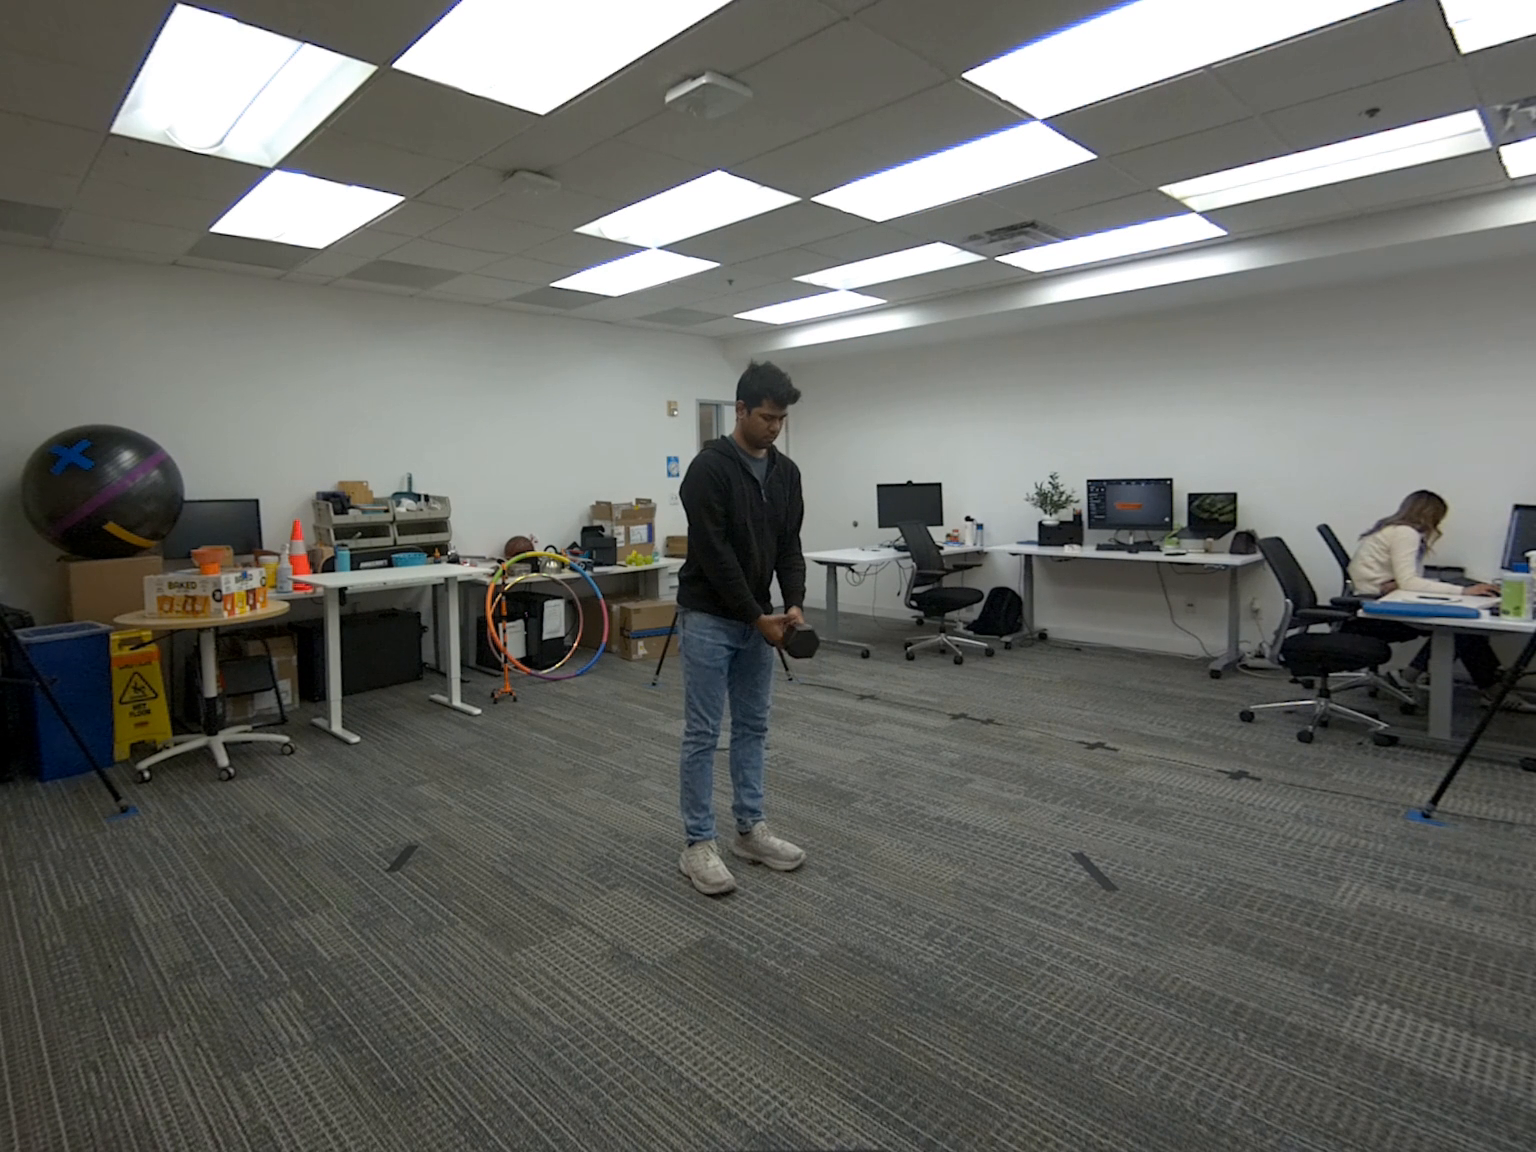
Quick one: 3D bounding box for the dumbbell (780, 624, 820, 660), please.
[{"bbox_3d":[0.061,0.212,2.937,0.106,0.123,0.300,26,-1,-19],"label":"dumbbell"}]
